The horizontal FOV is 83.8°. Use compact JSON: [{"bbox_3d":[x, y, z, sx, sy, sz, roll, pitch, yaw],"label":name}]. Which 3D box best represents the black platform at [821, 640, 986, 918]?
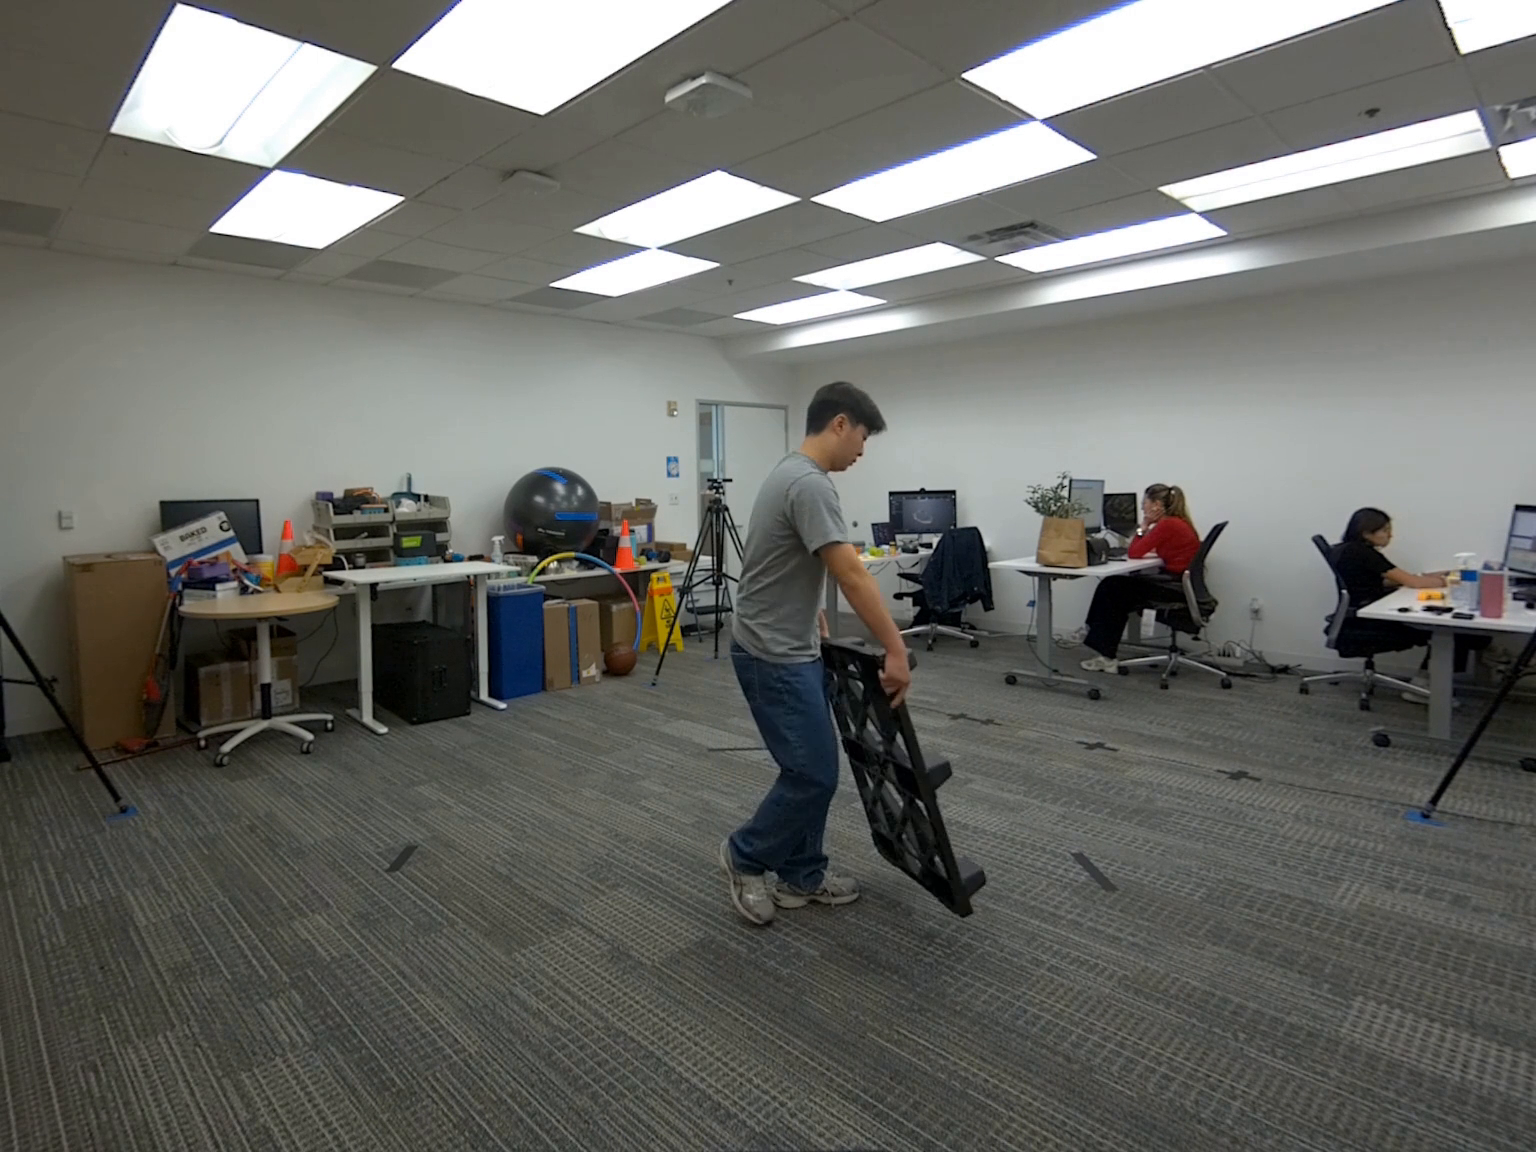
[{"bbox_3d":[0.413,0.592,2.727,0.142,0.802,0.613,-18,4,-15],"label":"black platform"}]
